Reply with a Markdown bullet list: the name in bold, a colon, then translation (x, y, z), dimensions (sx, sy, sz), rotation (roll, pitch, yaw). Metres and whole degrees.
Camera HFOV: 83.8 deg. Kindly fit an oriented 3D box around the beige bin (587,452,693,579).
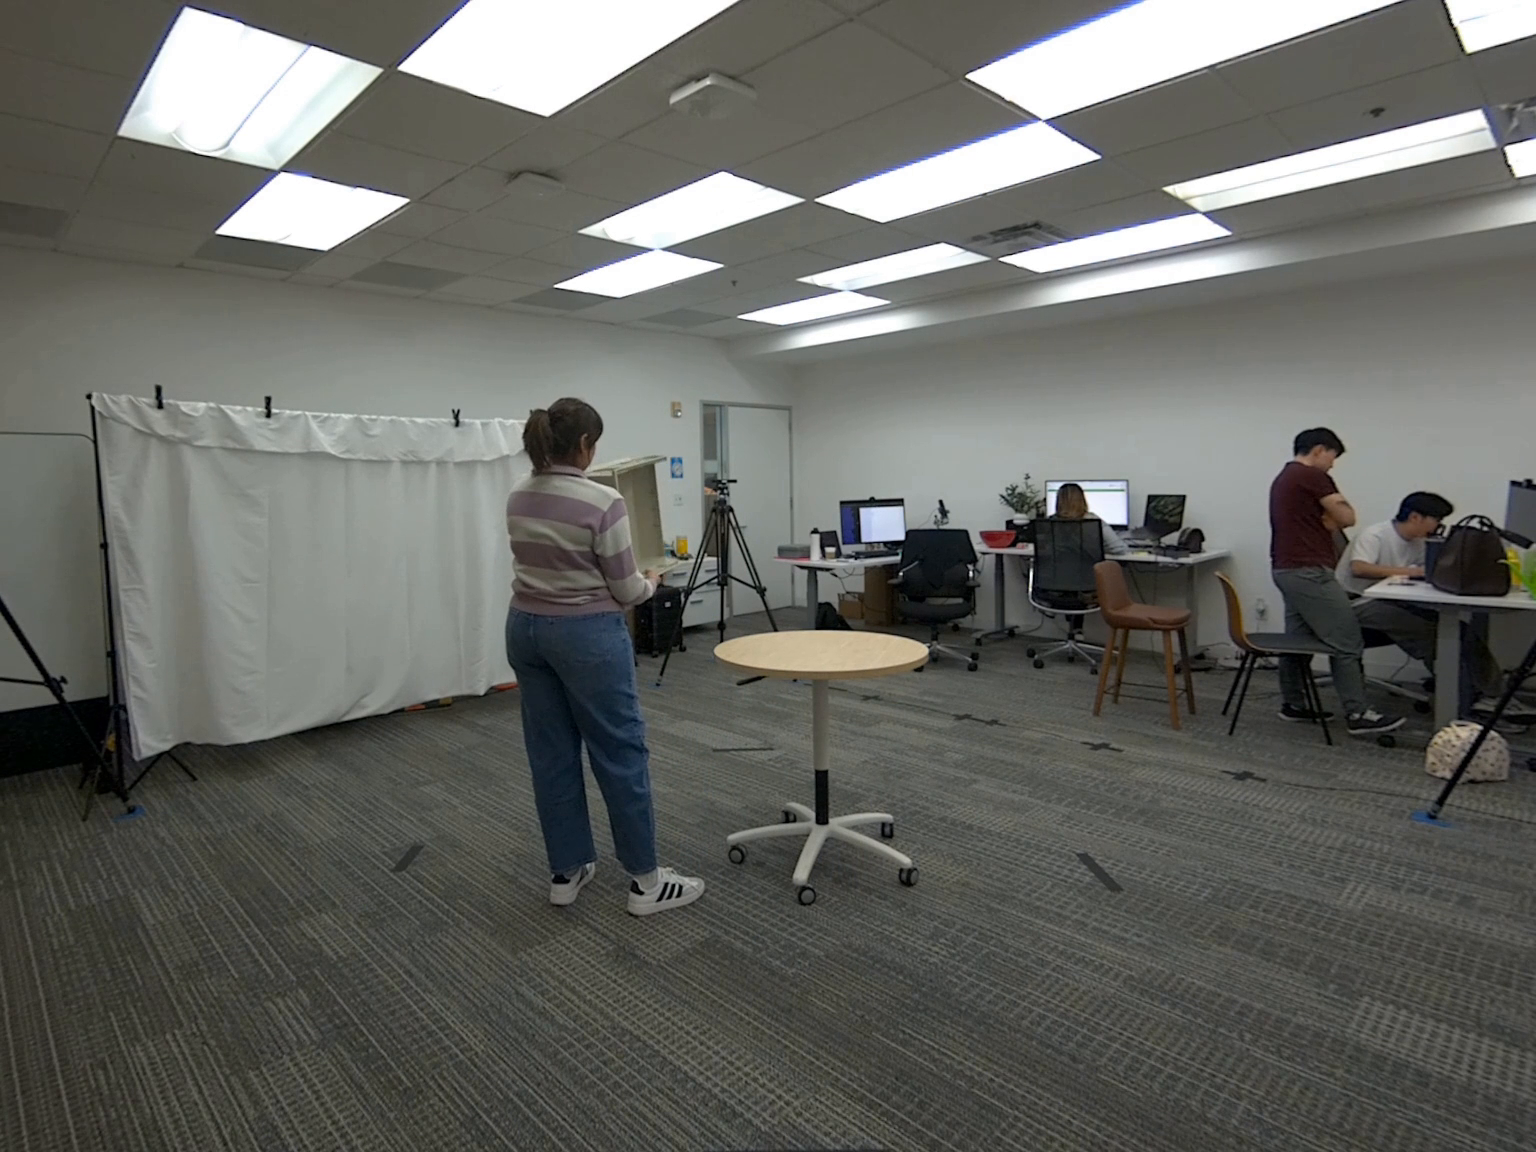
- **beige bin**: translation (-0.487, -0.211, 3.133), dimensions (0.194, 0.417, 0.372), rotation (1, 15, 30)
